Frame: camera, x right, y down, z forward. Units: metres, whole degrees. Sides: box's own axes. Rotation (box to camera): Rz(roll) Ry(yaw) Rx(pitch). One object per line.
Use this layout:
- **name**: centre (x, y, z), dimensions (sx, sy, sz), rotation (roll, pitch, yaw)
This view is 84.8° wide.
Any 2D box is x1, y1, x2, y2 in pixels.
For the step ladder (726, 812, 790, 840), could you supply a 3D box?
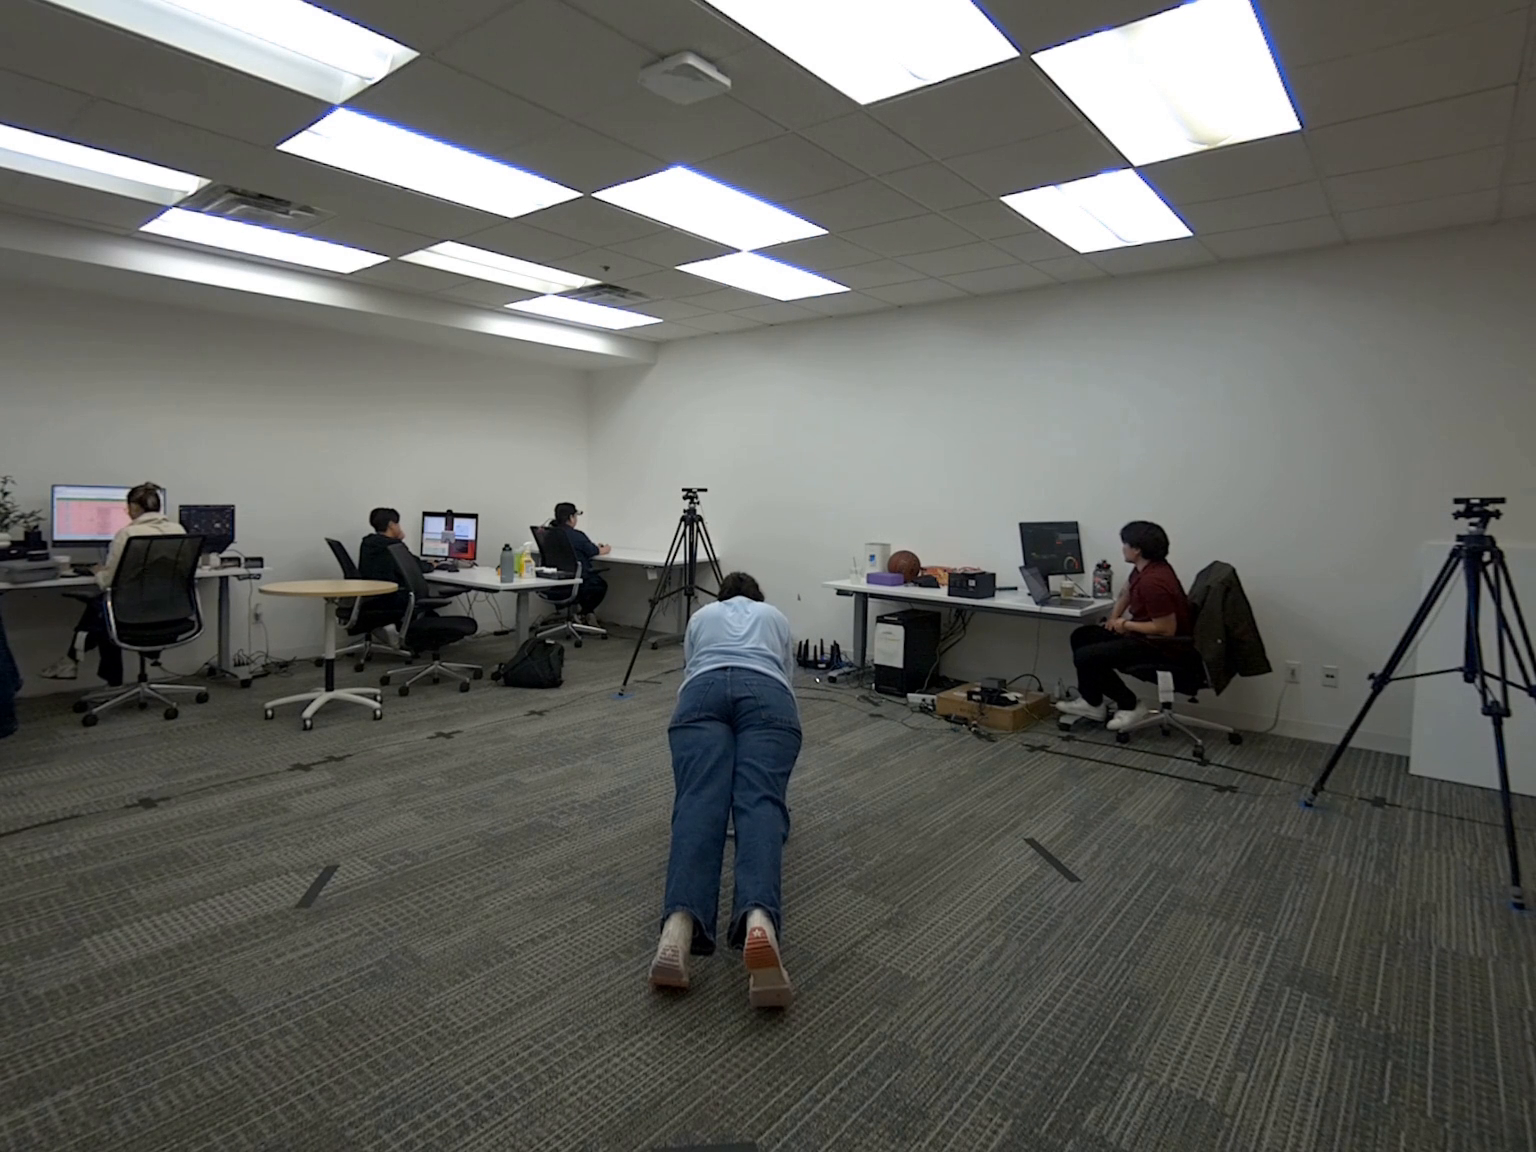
- **step ladder**: centre (-0.125, 0.724, 3.549), dimensions (0.433, 0.604, 0.349), rotation (1, 3, 3)
